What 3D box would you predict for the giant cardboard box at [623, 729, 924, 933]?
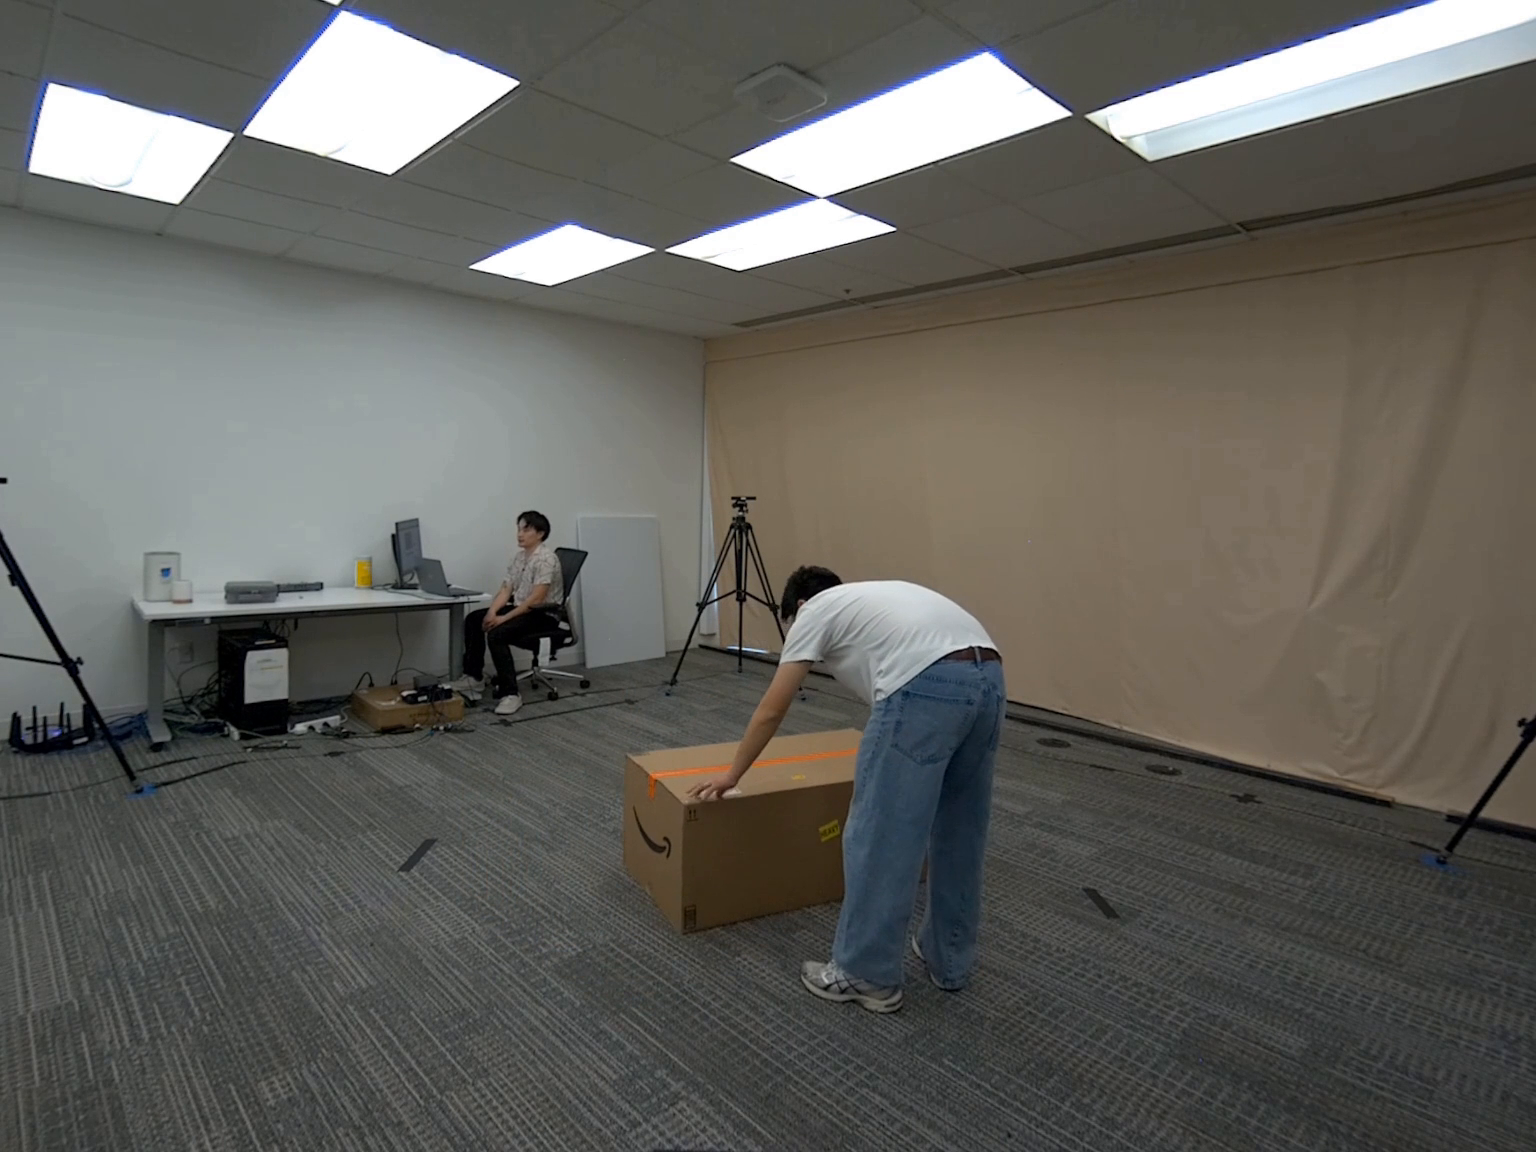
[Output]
[{"bbox_3d":[0.031,0.893,3.138,1.006,0.425,0.590,-1,5,-27],"label":"giant cardboard box"}]
